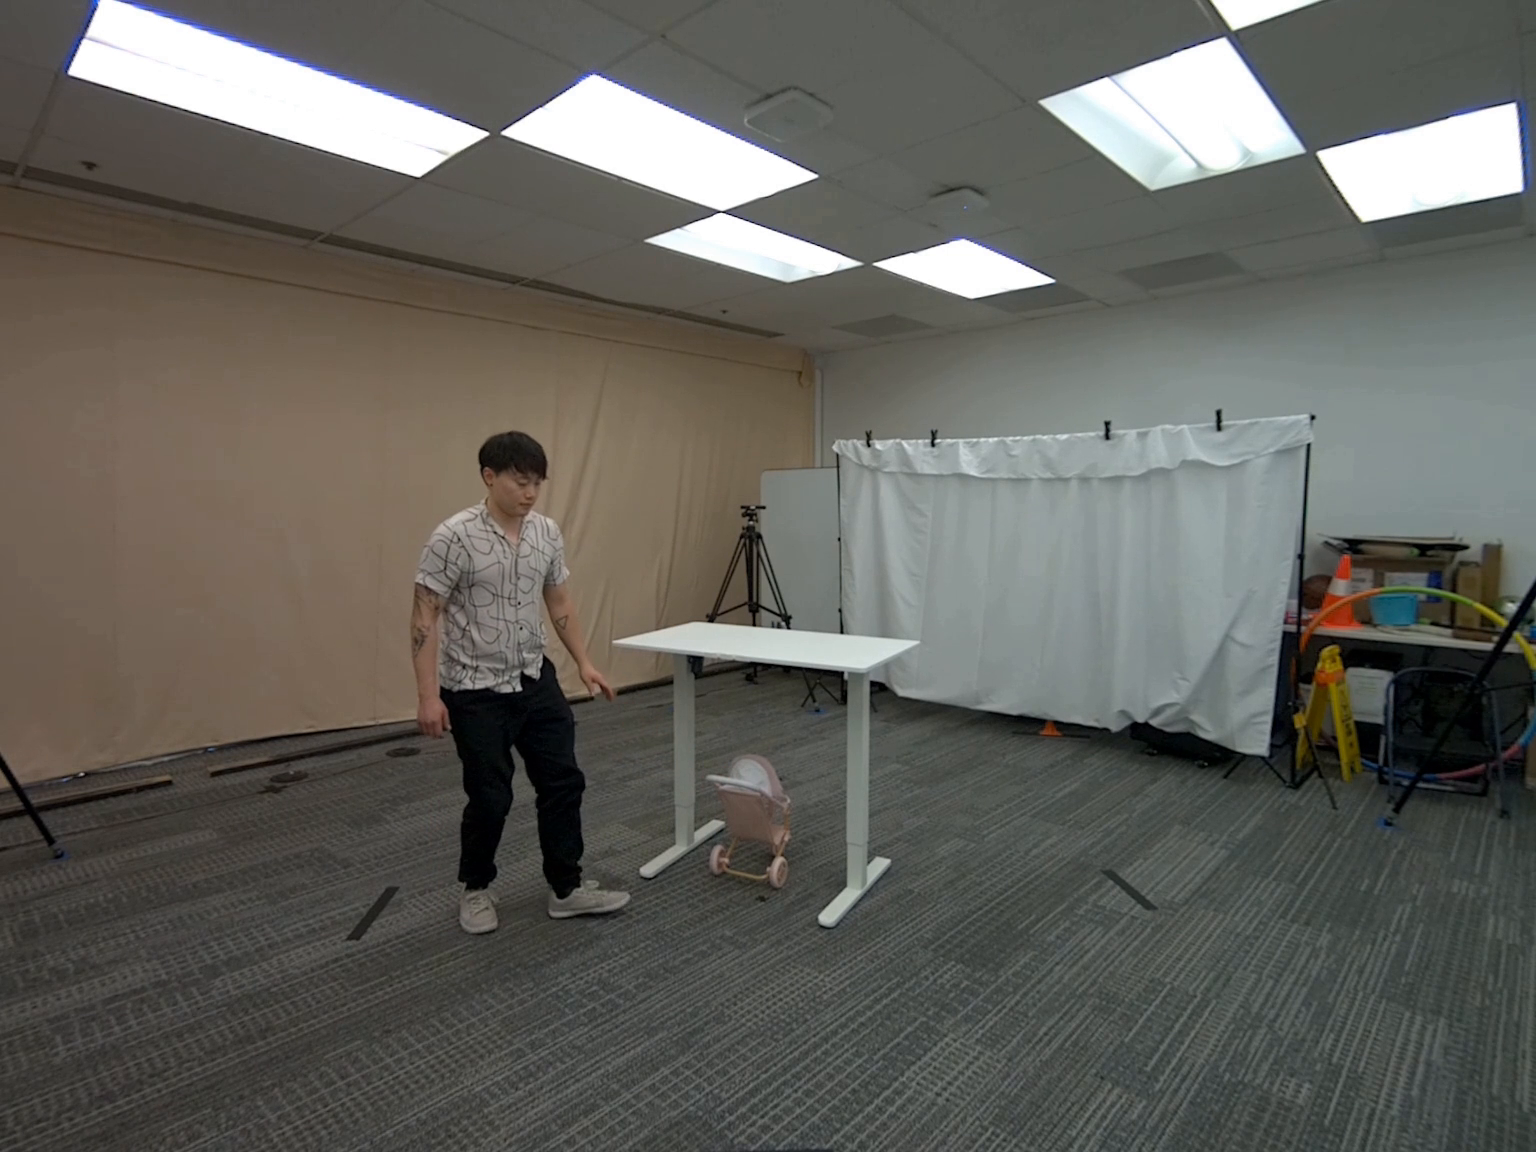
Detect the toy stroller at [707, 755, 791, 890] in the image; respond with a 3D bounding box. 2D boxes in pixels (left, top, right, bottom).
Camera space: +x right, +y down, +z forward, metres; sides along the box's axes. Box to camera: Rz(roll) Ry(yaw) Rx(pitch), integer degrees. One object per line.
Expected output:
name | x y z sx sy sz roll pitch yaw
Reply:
toy stroller | -0.047 0.902 3.162 0.290 0.528 0.336 2 20 30
